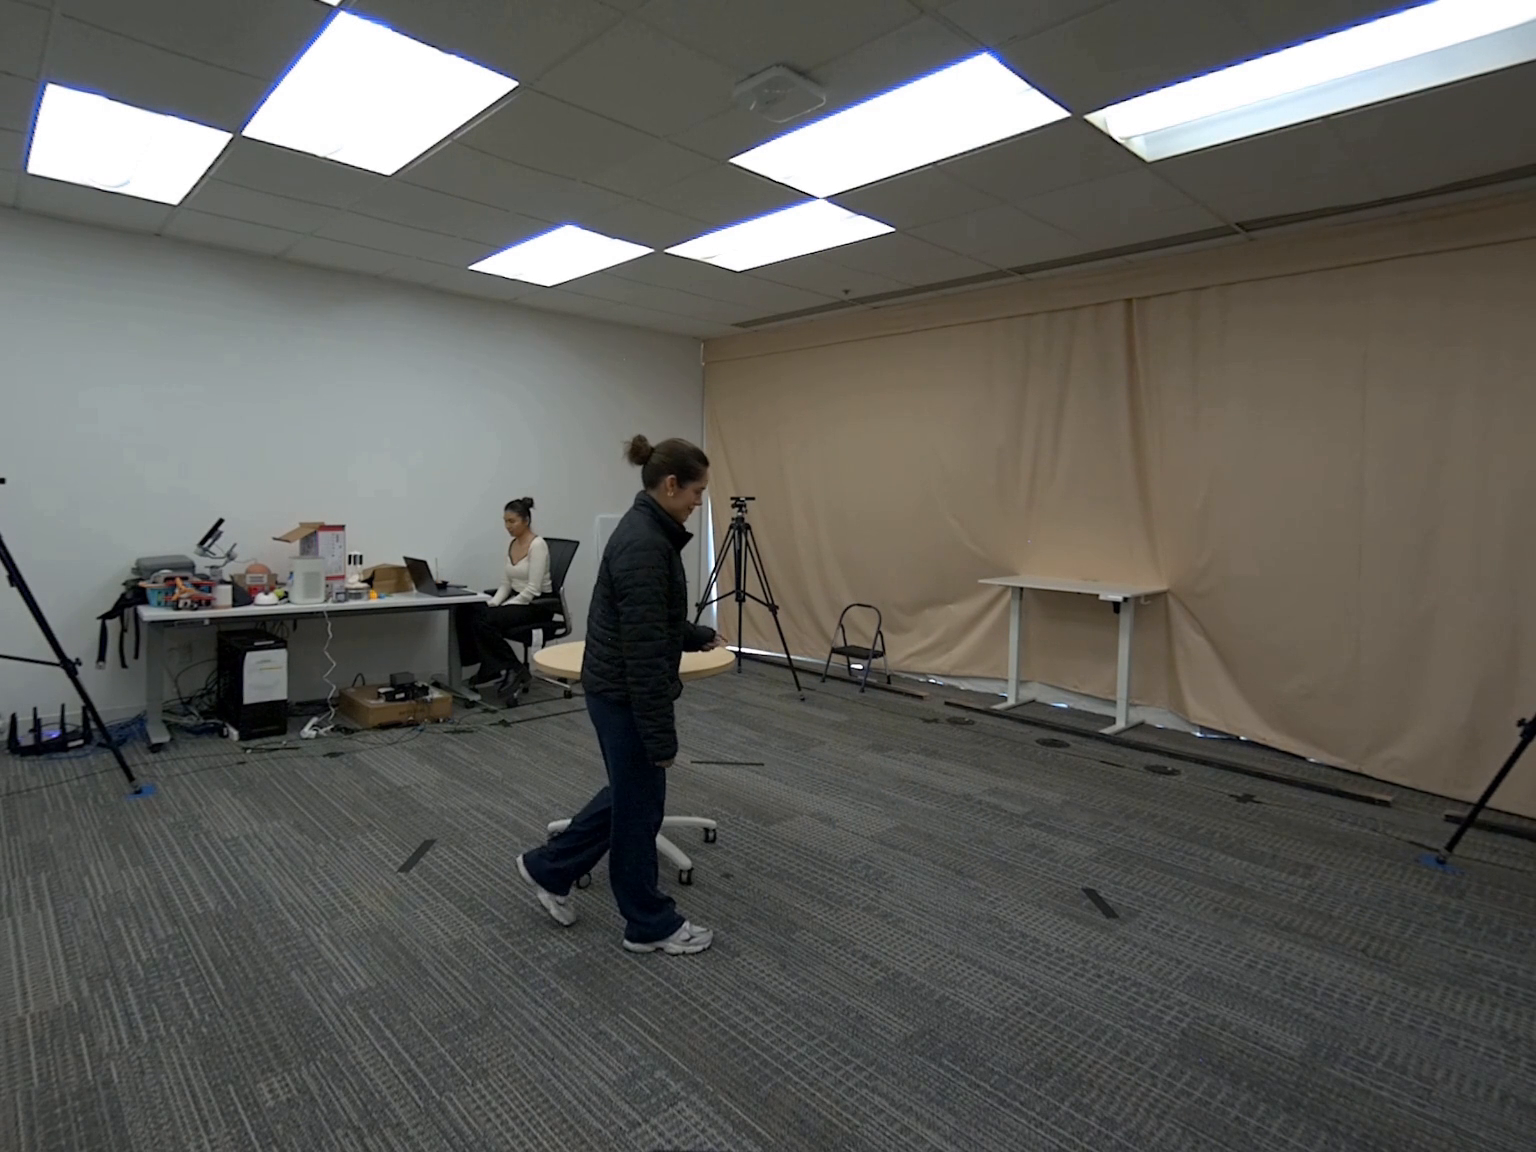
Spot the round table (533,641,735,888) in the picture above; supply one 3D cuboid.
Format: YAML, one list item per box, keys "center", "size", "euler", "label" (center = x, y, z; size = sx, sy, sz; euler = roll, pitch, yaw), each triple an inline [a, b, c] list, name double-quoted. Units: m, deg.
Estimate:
- center: [-0.511, 0.696, 3.217]
  size: [0.784, 0.785, 0.787]
  euler: [1, 4, -1]
  label: "round table"
